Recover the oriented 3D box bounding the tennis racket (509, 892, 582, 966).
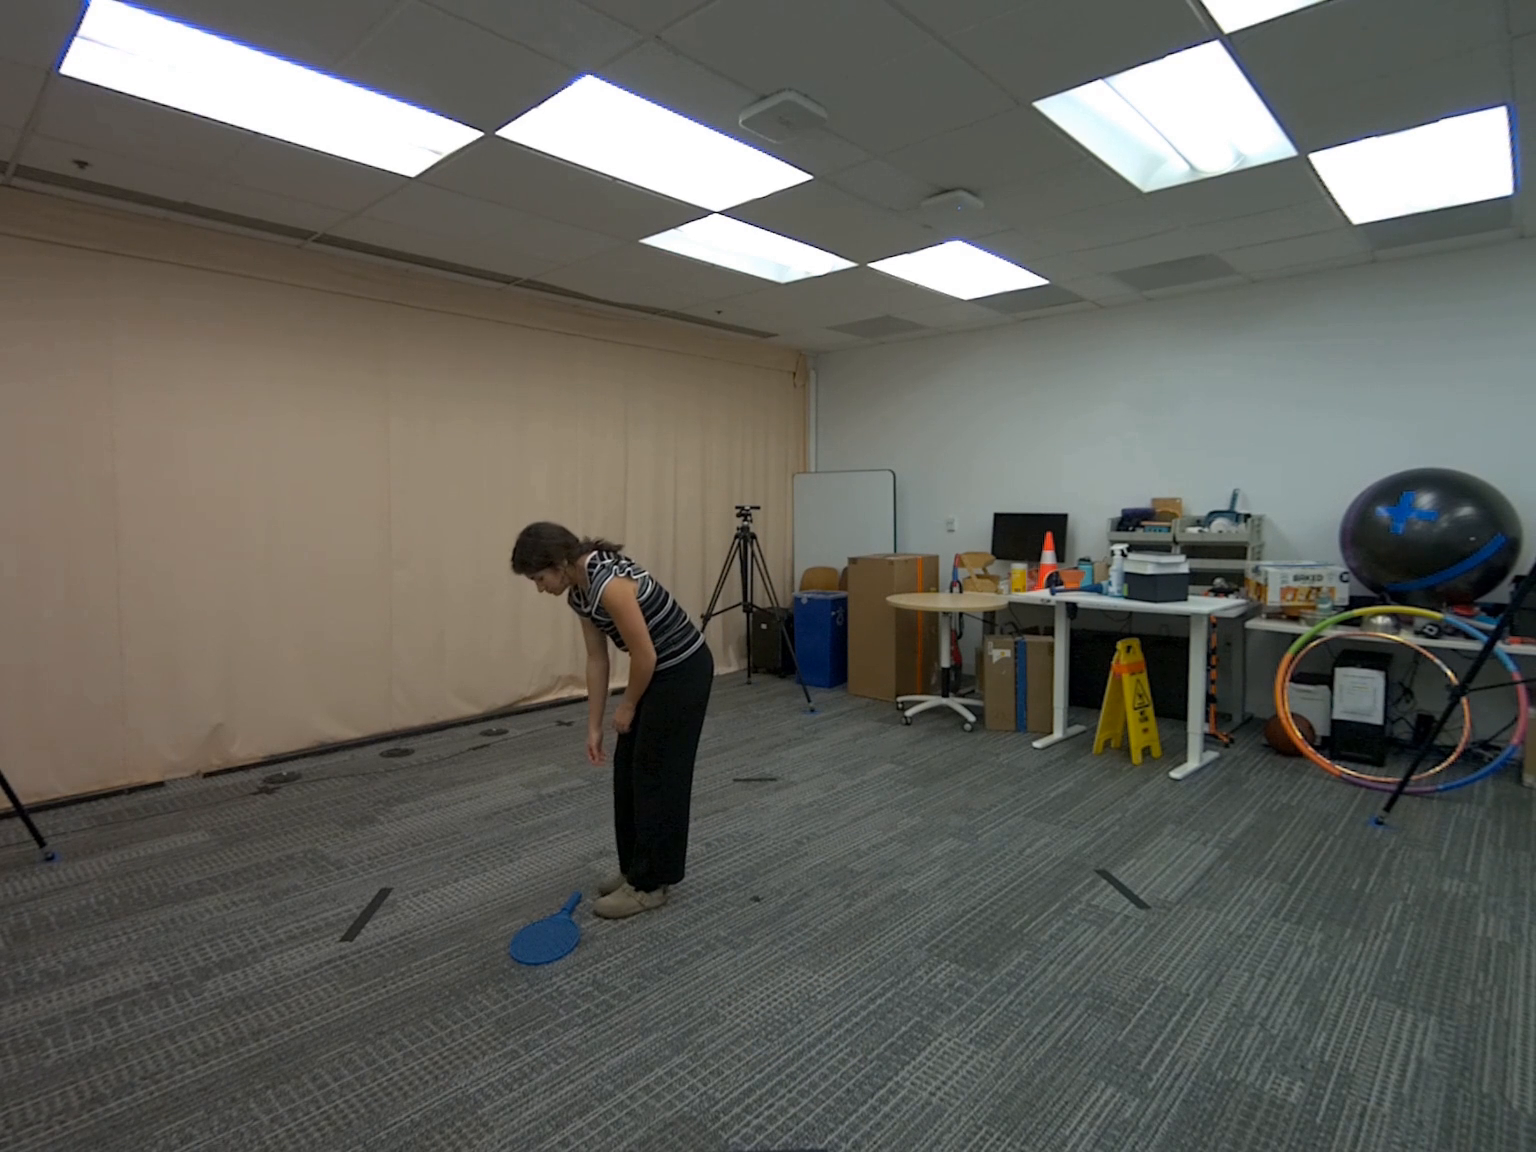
[{"bbox_3d":[-0.696,1.154,2.772,0.215,0.031,0.431,0,6,6],"label":"tennis racket"}]
